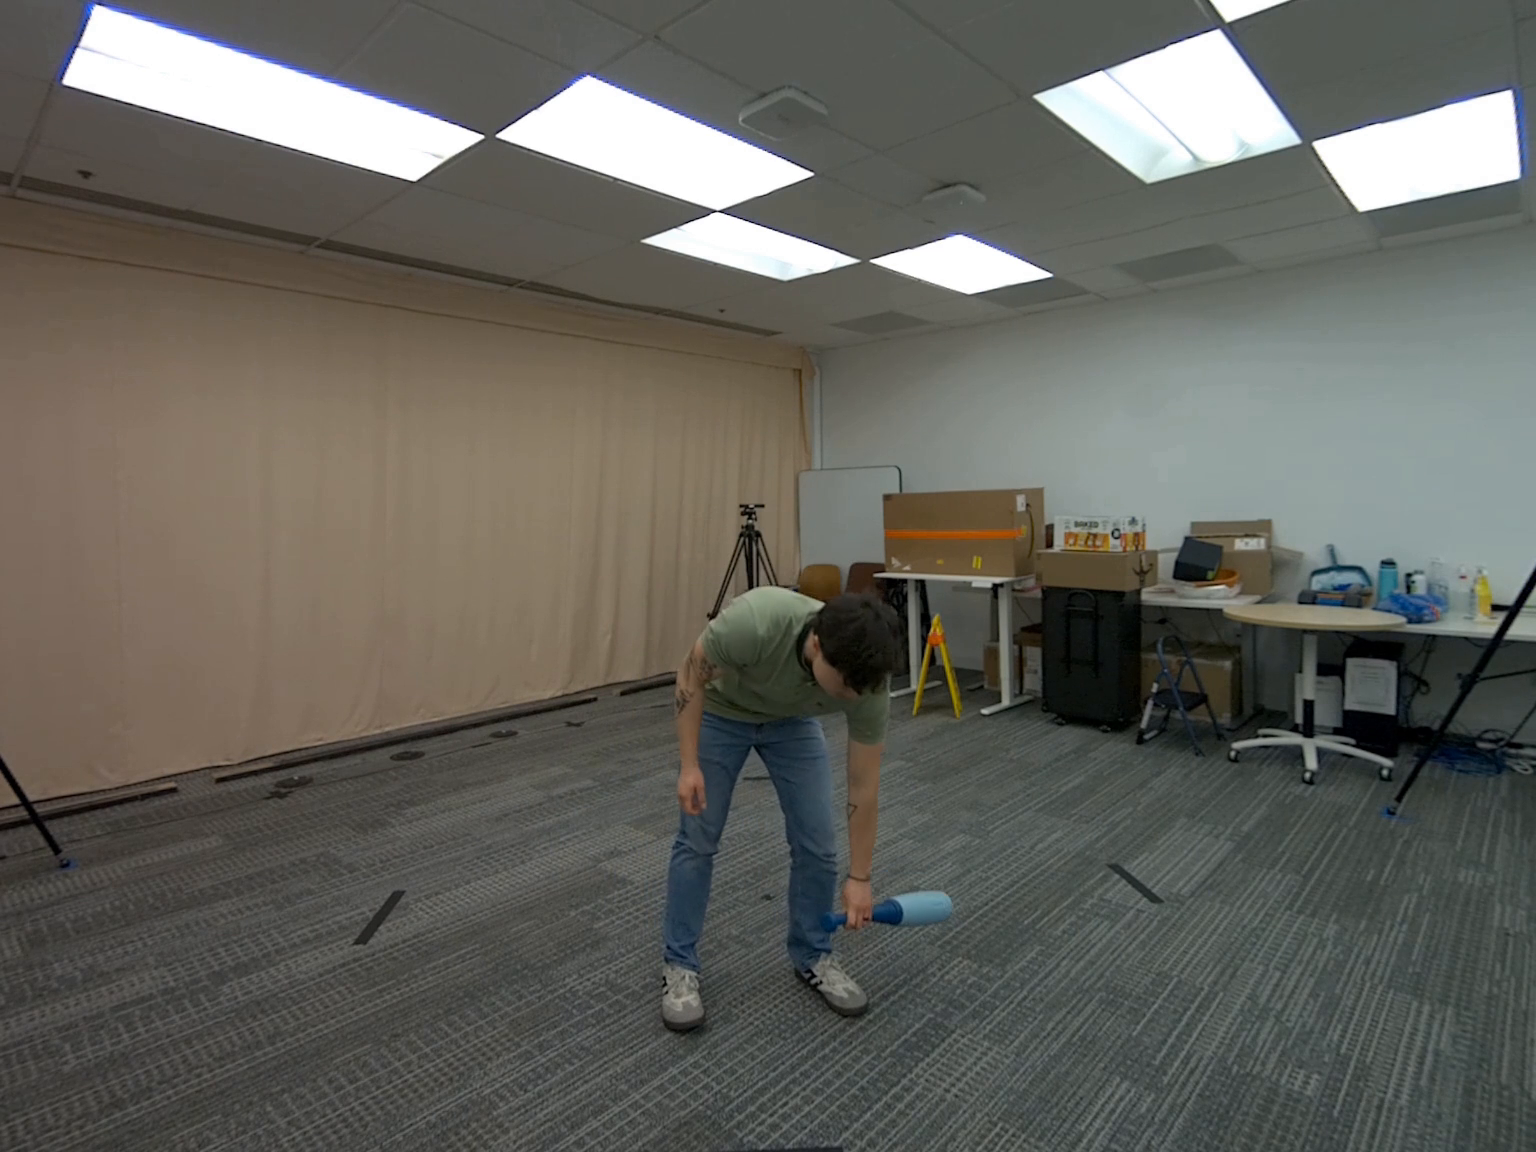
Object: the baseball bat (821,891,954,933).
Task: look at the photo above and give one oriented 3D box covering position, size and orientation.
[{"bbox_3d":[0.334,0.909,2.274,0.092,0.089,0.524,3,-10,46],"label":"baseball bat"}]
